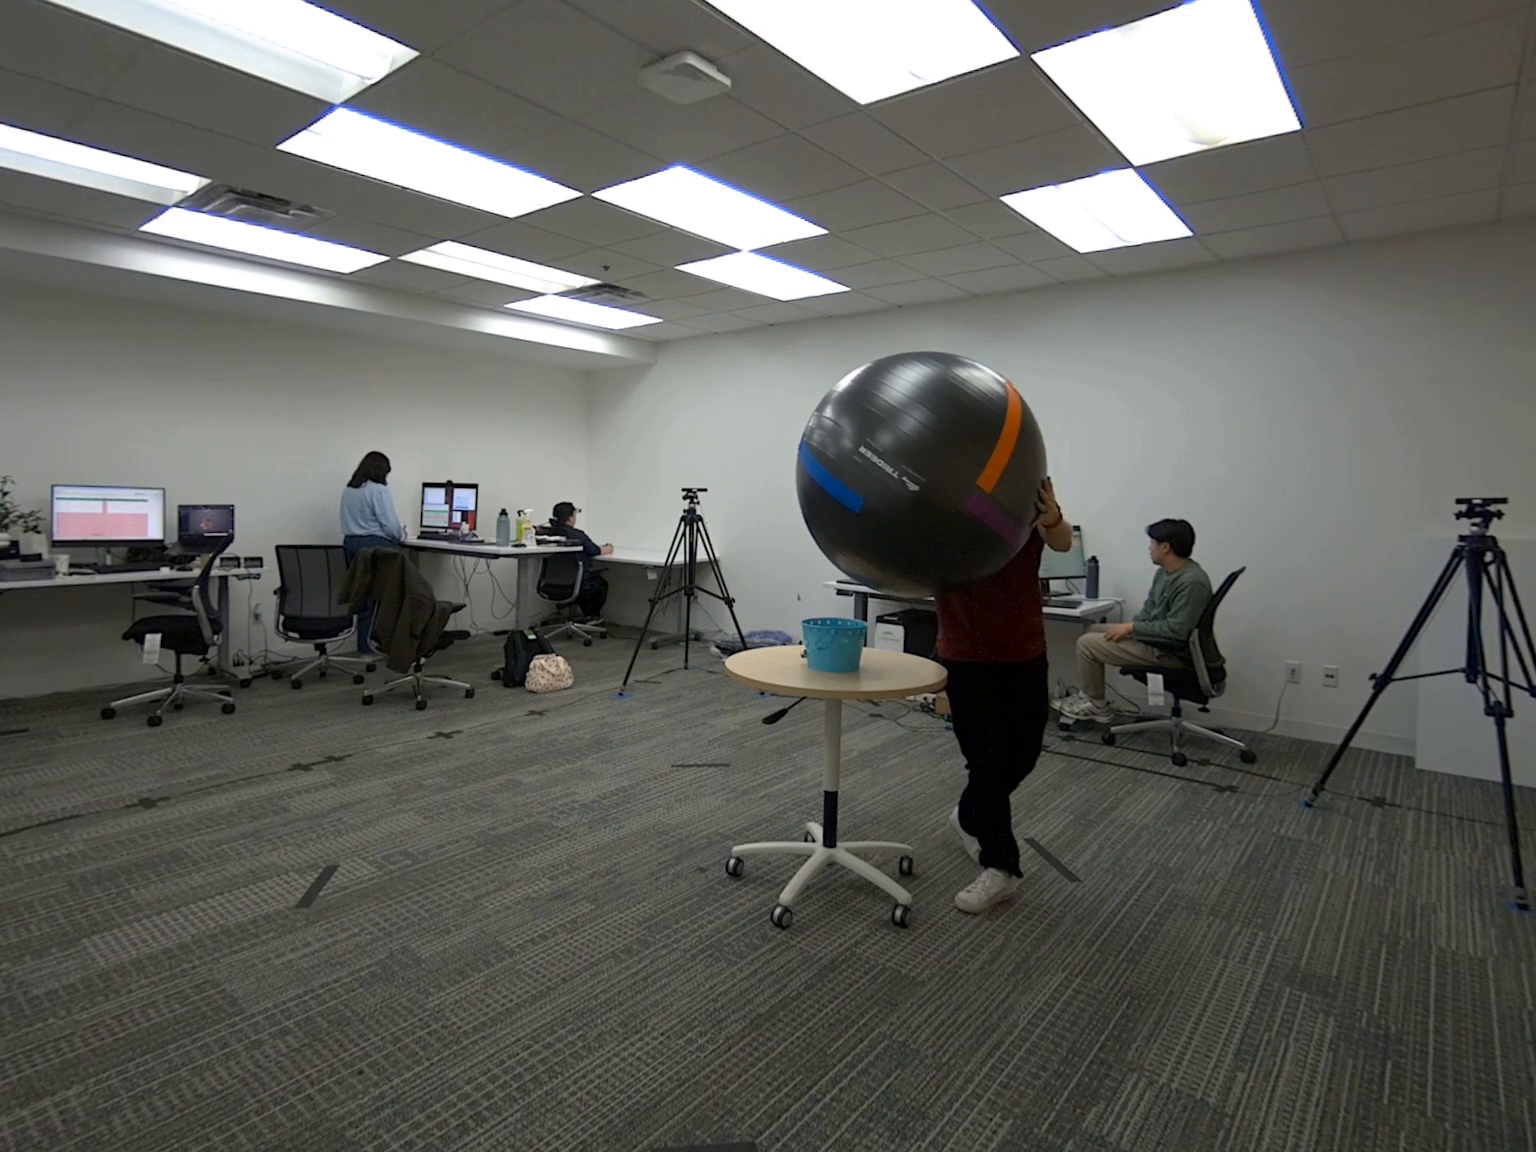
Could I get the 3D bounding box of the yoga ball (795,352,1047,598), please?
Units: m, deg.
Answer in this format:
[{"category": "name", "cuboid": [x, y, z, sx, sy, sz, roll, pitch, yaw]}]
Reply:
[{"category": "yoga ball", "cuboid": [0.466, -0.310, 2.637, 0.757, 0.756, 0.761, 1, 4, -2]}]
